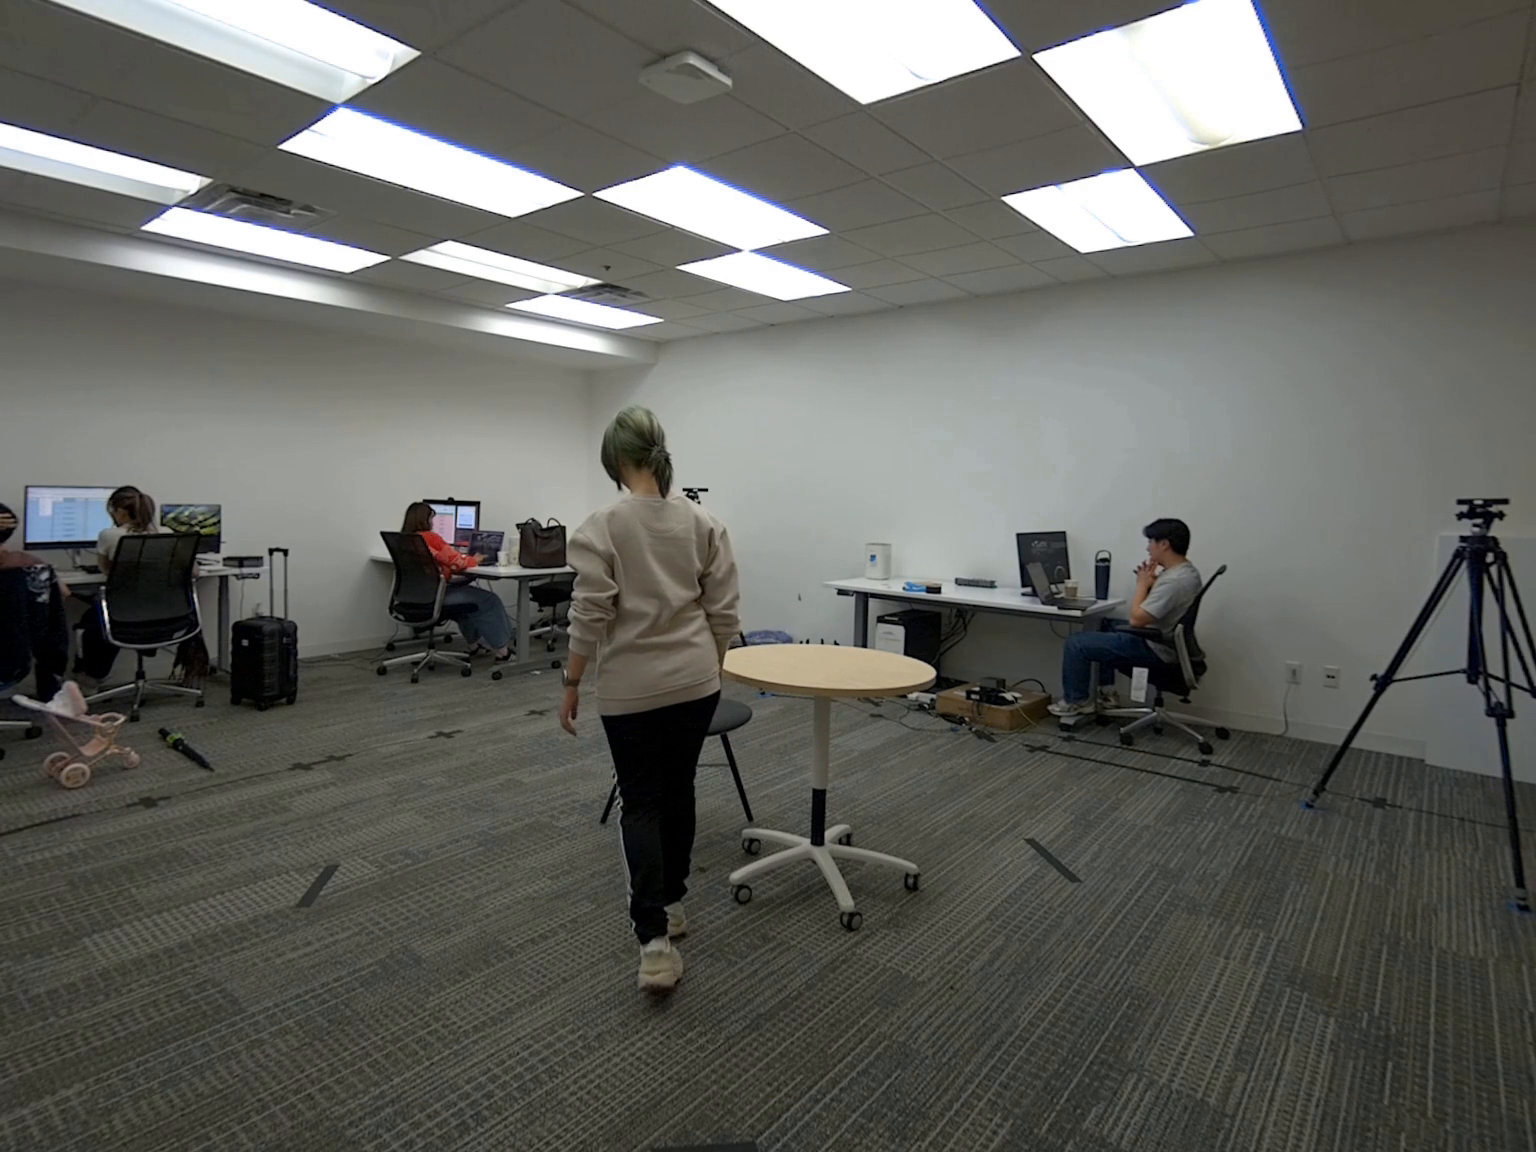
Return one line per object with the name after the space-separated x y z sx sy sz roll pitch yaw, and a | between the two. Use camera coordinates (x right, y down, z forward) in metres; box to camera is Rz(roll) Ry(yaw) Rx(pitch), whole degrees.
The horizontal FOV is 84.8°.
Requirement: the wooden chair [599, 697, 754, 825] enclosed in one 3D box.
-0.367 0.593 3.513 0.539 0.877 0.464 -2 0 39 | wooden chair
